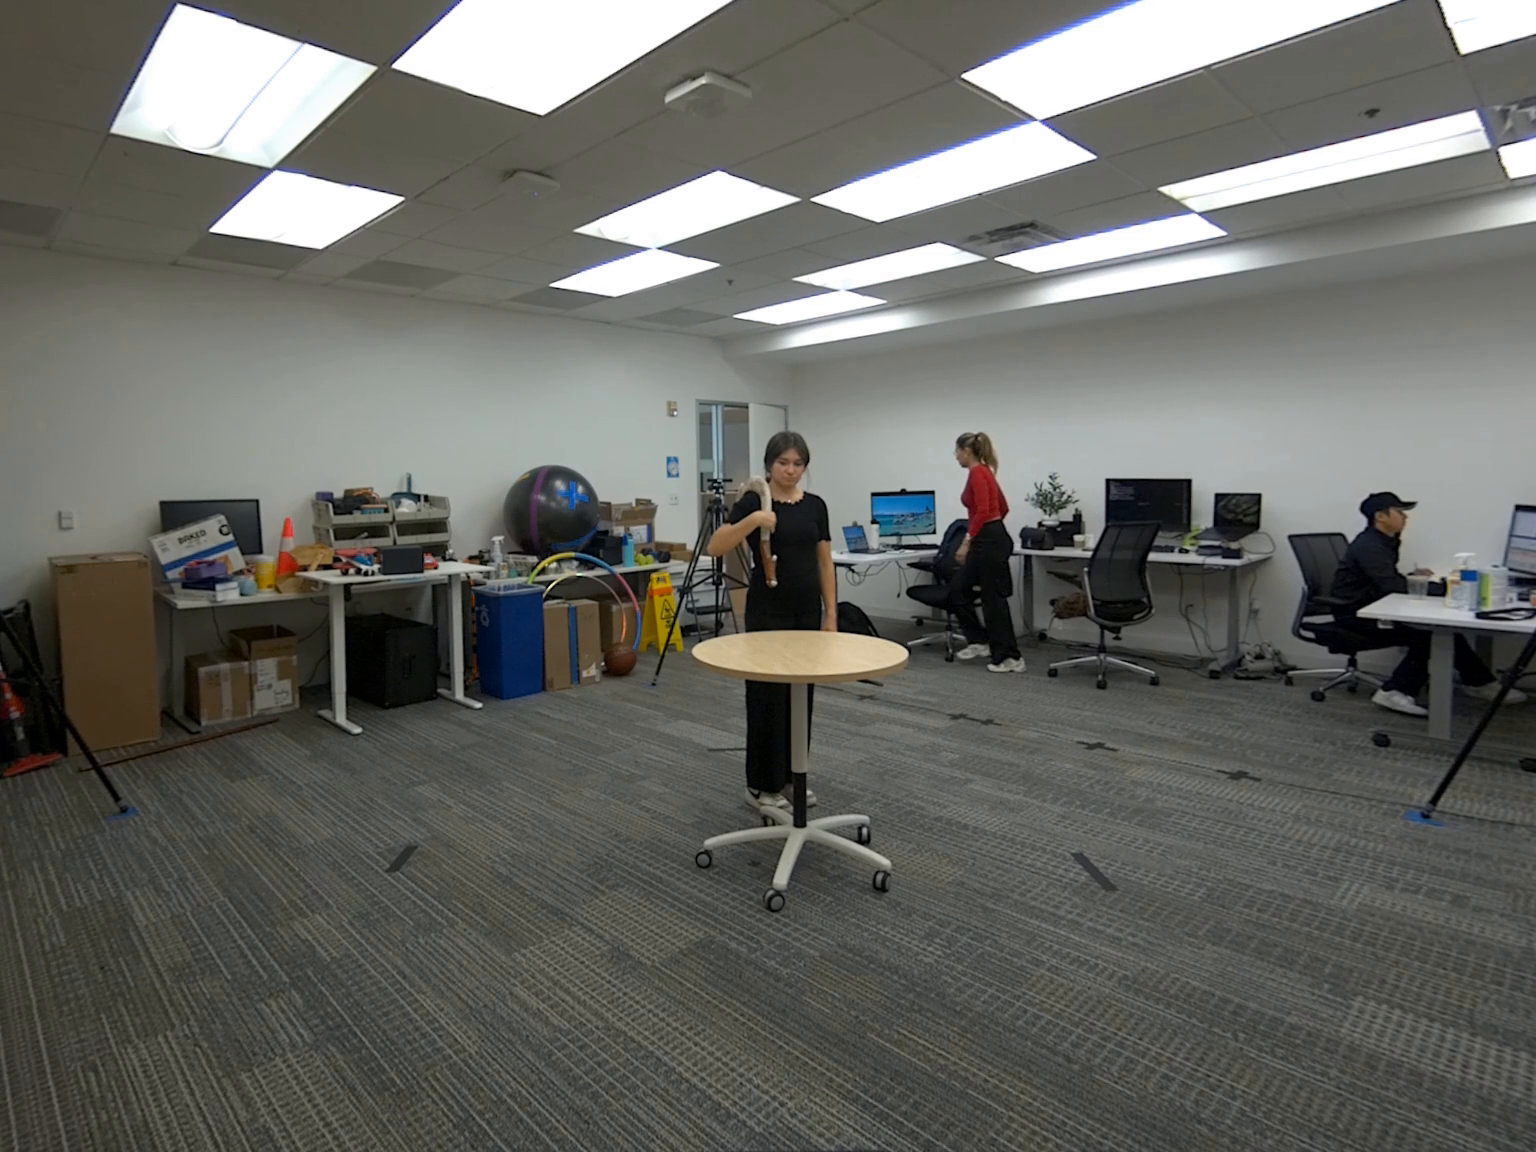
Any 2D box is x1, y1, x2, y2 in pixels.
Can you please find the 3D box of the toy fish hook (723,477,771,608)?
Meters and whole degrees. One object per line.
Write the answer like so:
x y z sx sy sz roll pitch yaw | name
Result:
-0.058 -0.180 3.589 0.047 0.518 0.227 11 -29 -37 | toy fish hook
